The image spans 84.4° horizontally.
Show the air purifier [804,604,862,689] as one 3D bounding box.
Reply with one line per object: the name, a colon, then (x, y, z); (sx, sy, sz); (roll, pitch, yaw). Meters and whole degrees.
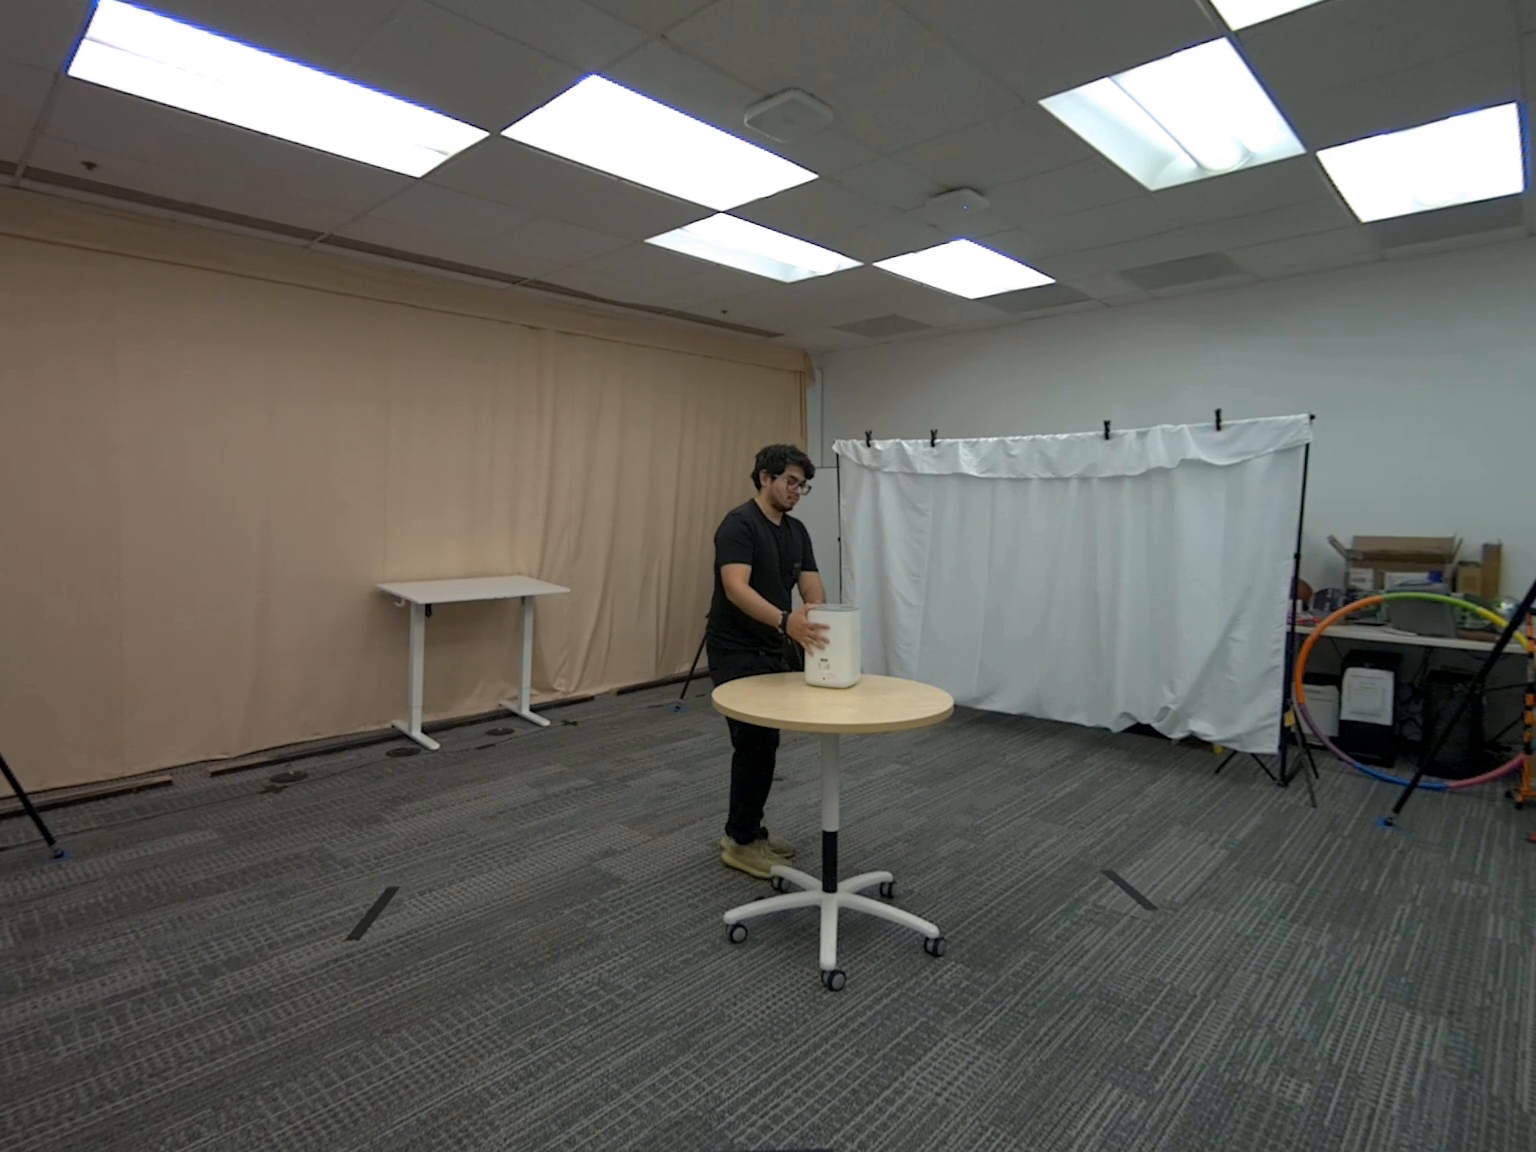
air purifier: (0.223, 0.236, 2.866); (0.175, 0.265, 0.167); (2, 3, 25)
